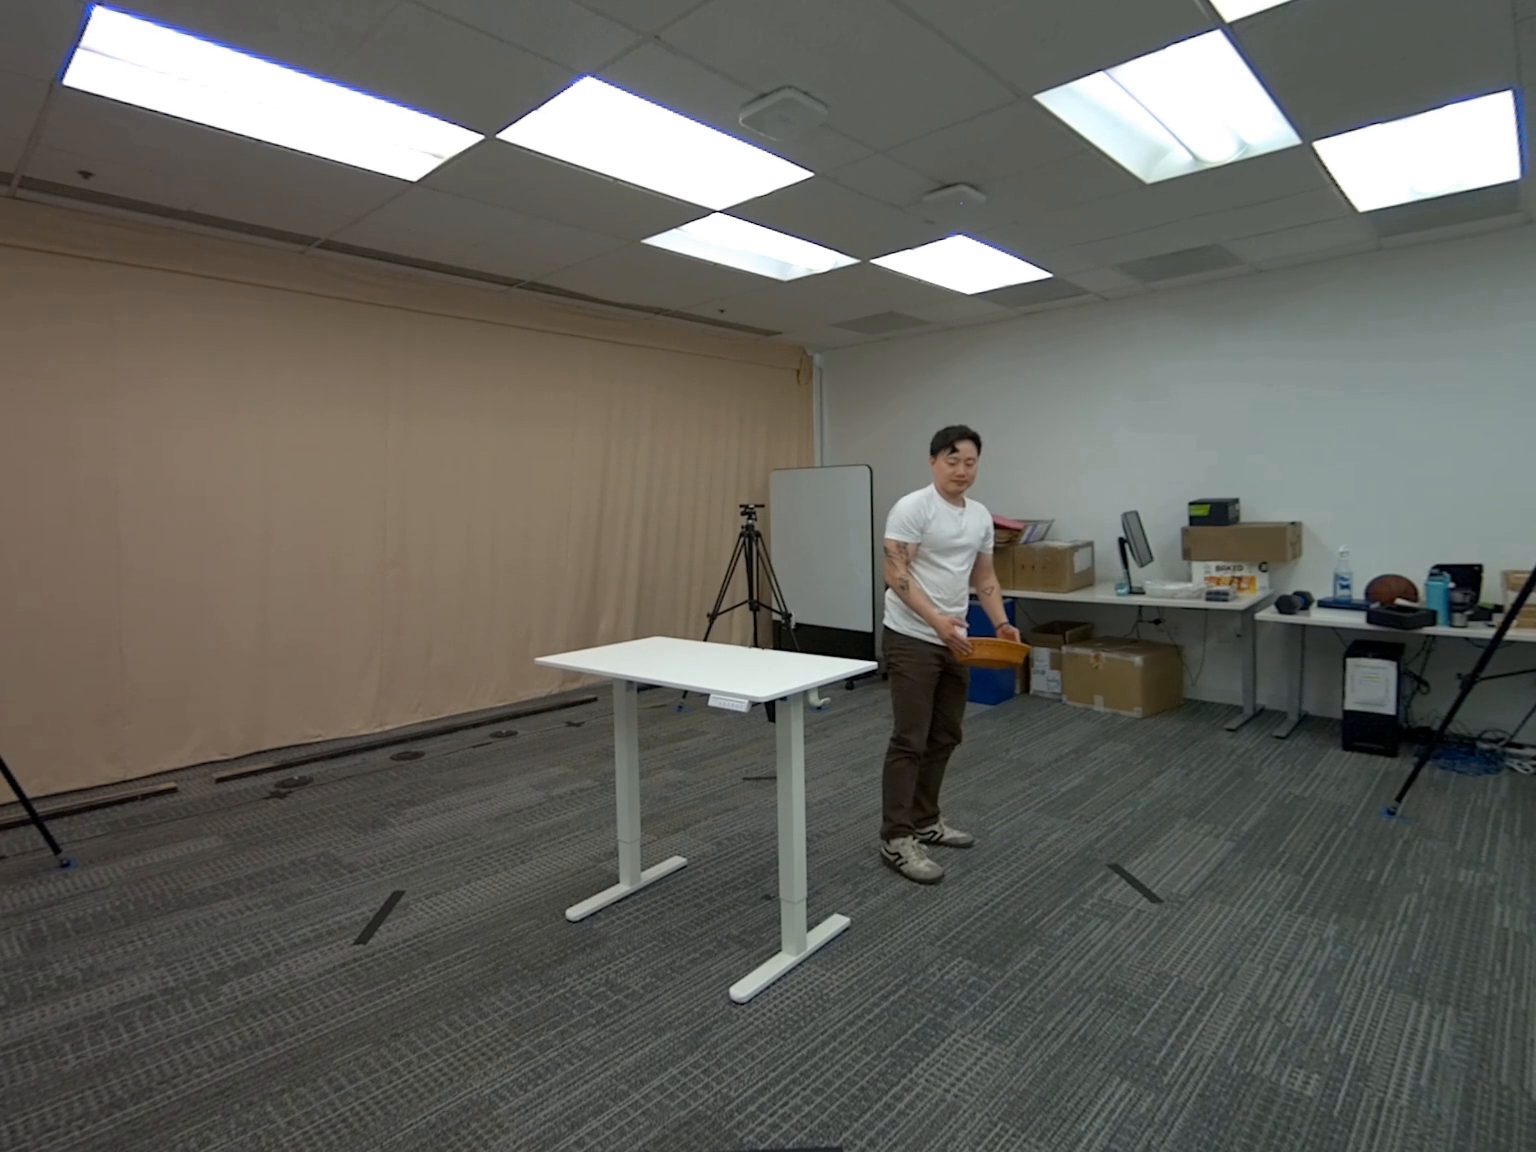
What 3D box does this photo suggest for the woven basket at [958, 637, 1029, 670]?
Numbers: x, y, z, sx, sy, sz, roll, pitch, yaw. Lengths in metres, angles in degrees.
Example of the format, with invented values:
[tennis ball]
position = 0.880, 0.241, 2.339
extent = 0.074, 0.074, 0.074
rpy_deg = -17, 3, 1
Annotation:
[woven basket]
position = 0.831, 0.296, 3.168
extent = 0.339, 0.074, 0.259
rpy_deg = 13, -13, -36
